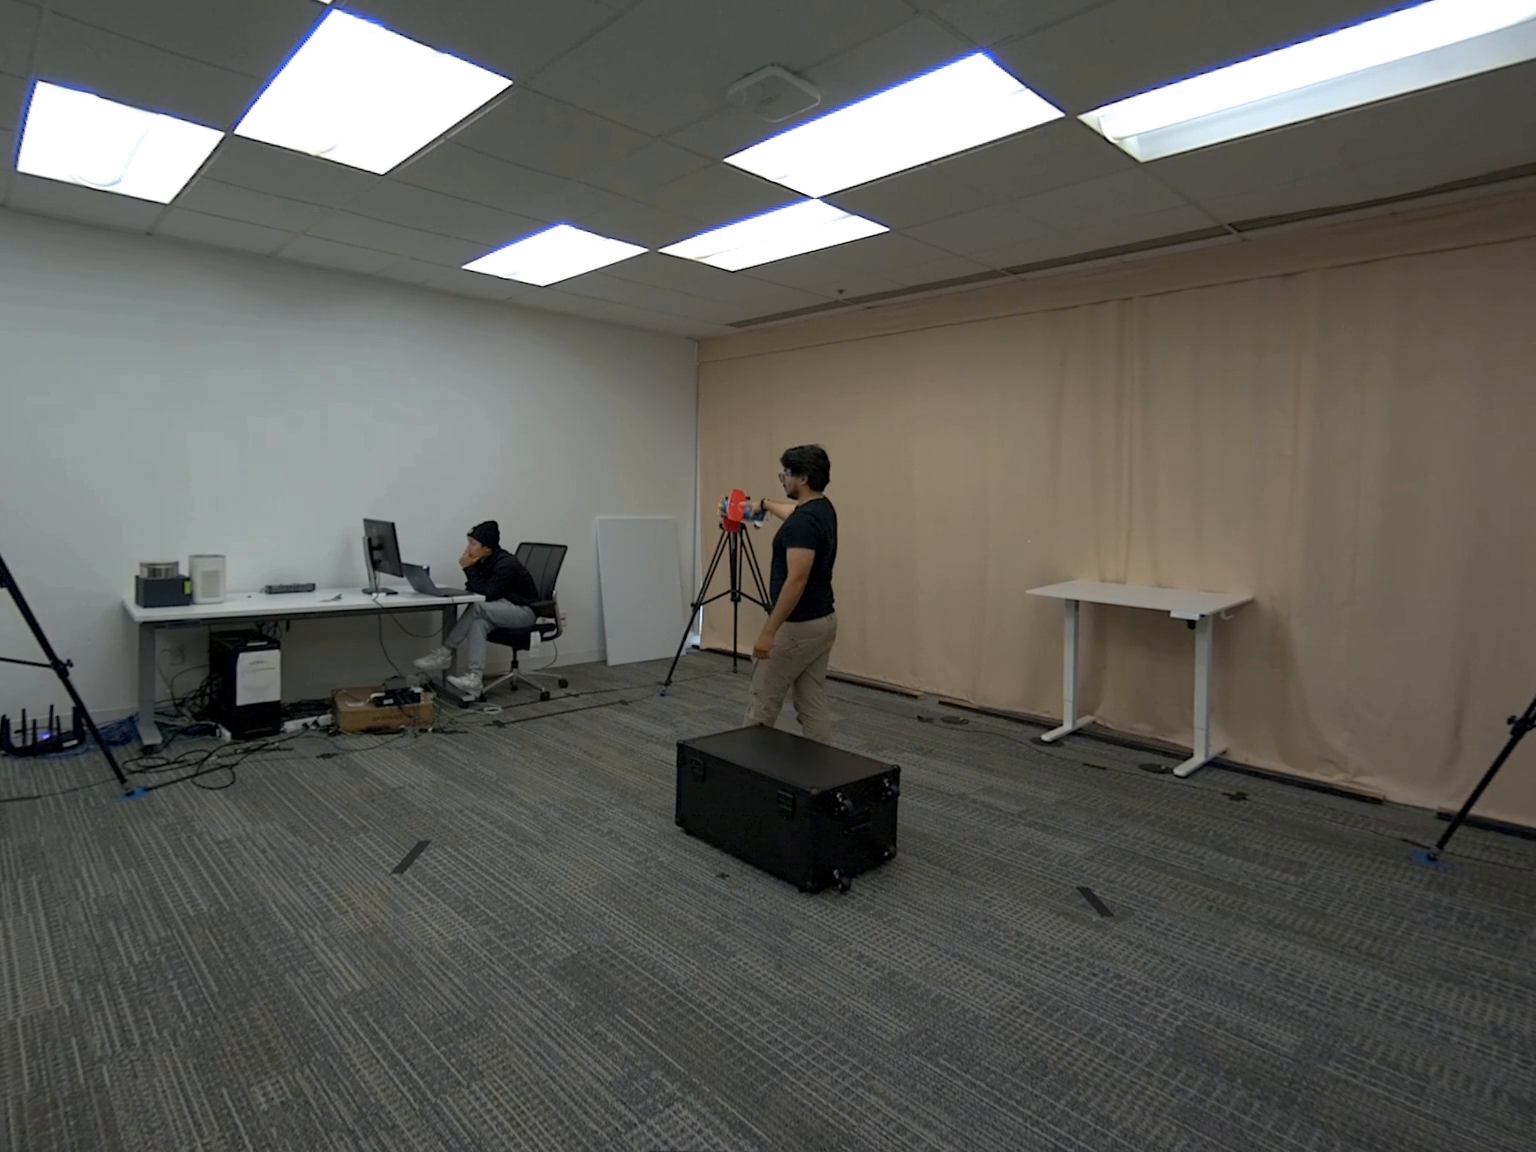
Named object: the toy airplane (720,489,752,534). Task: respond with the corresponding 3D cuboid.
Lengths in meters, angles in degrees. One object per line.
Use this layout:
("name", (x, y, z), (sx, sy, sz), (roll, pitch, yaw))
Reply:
("toy airplane", (-0.157, -0.348, 4.533), (0.257, 0.153, 0.259), (-14, 47, -17))
